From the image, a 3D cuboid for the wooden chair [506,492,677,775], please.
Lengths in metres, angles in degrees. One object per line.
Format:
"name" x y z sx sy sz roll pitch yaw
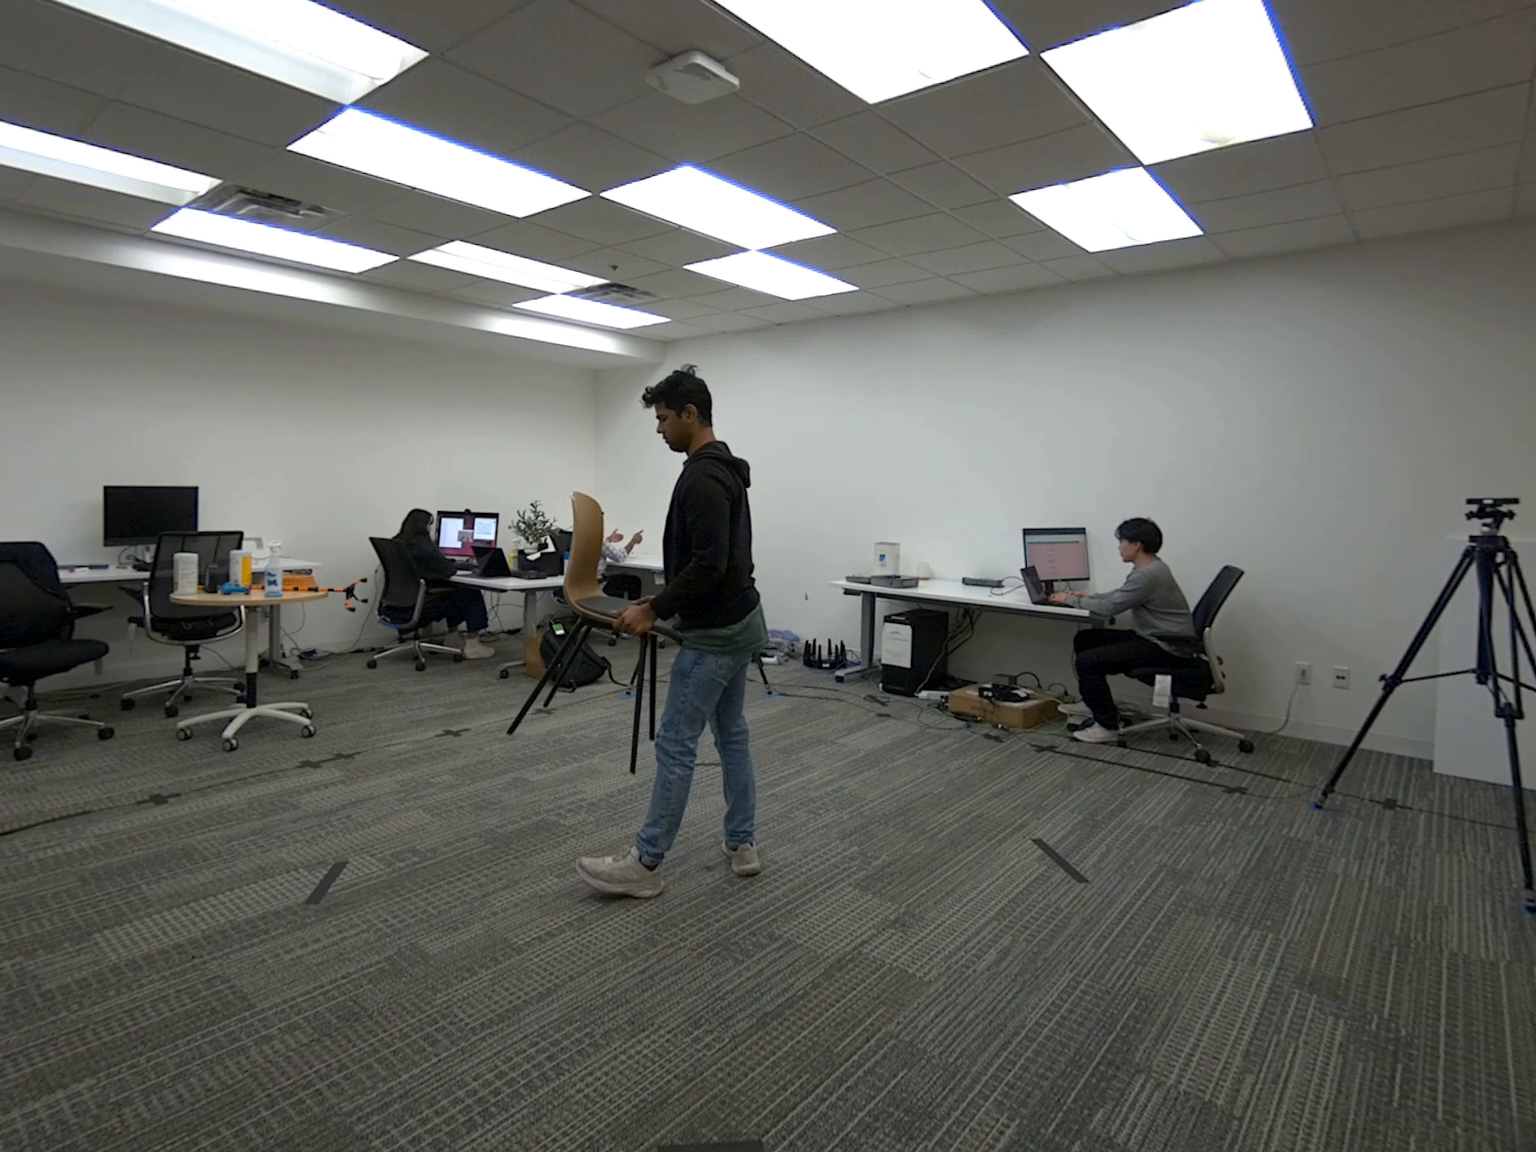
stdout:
"wooden chair" -0.558 0.177 3.060 0.526 0.877 0.476 13 1 4
